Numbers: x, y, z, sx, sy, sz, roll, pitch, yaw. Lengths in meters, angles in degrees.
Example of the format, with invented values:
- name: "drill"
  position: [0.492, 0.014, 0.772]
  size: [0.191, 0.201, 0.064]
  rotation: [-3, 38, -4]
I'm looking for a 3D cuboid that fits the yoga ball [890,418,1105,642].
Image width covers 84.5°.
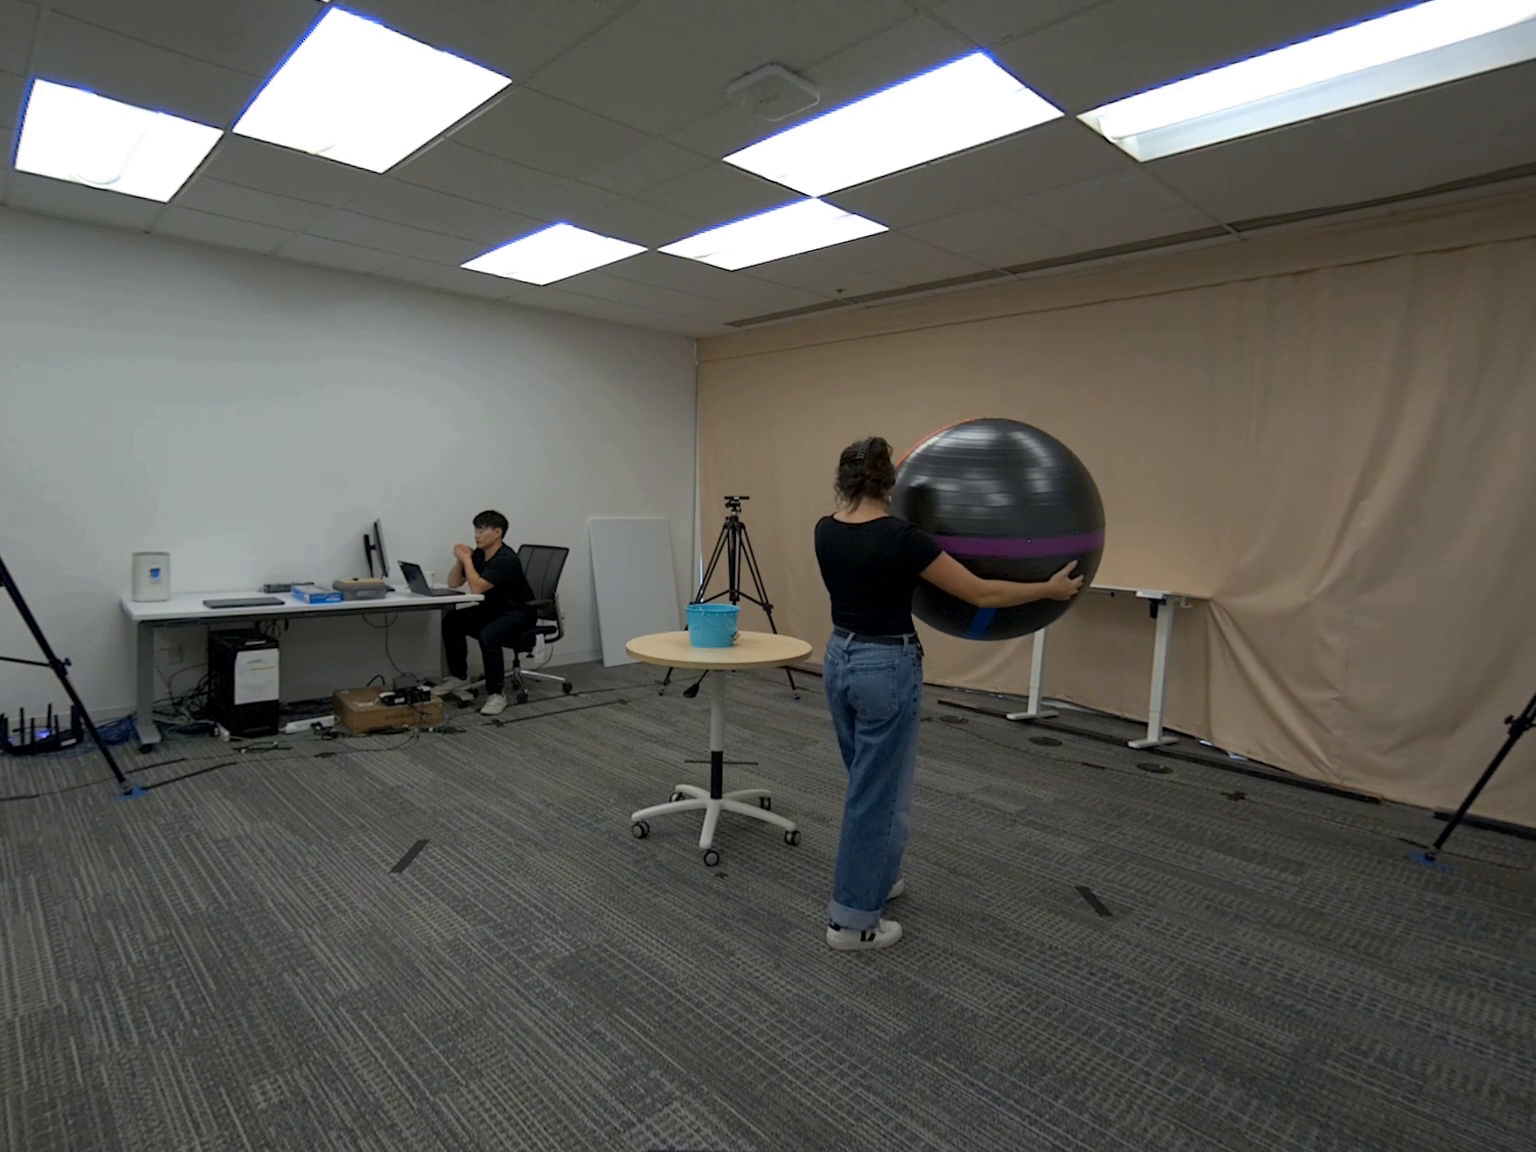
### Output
- name: "yoga ball"
  position: [0.751, -0.155, 2.886]
  size: [0.757, 0.756, 0.761]
  rotation: [1, 4, -1]
